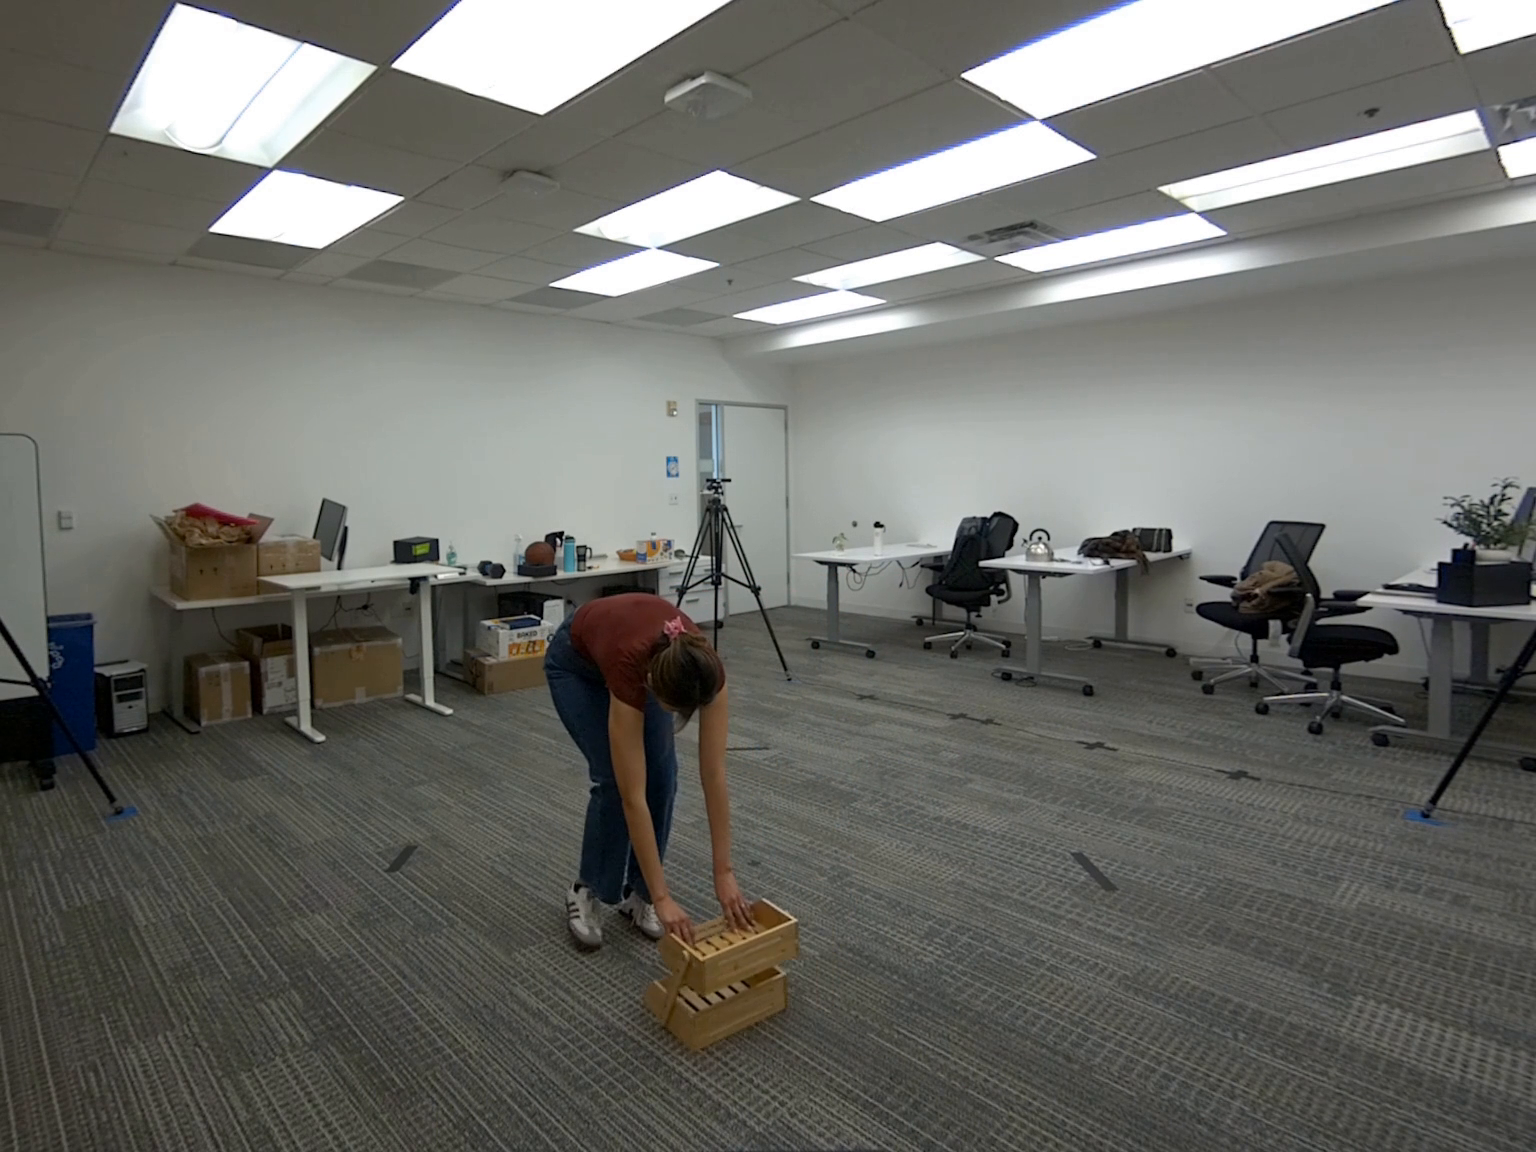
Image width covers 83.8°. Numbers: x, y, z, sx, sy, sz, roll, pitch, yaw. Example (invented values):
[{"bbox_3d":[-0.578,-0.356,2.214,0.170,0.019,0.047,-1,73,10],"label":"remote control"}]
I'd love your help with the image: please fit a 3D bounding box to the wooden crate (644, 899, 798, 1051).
[{"bbox_3d":[-0.118,1.012,2.246,0.316,0.272,0.311,-5,7,-37],"label":"wooden crate"}]
